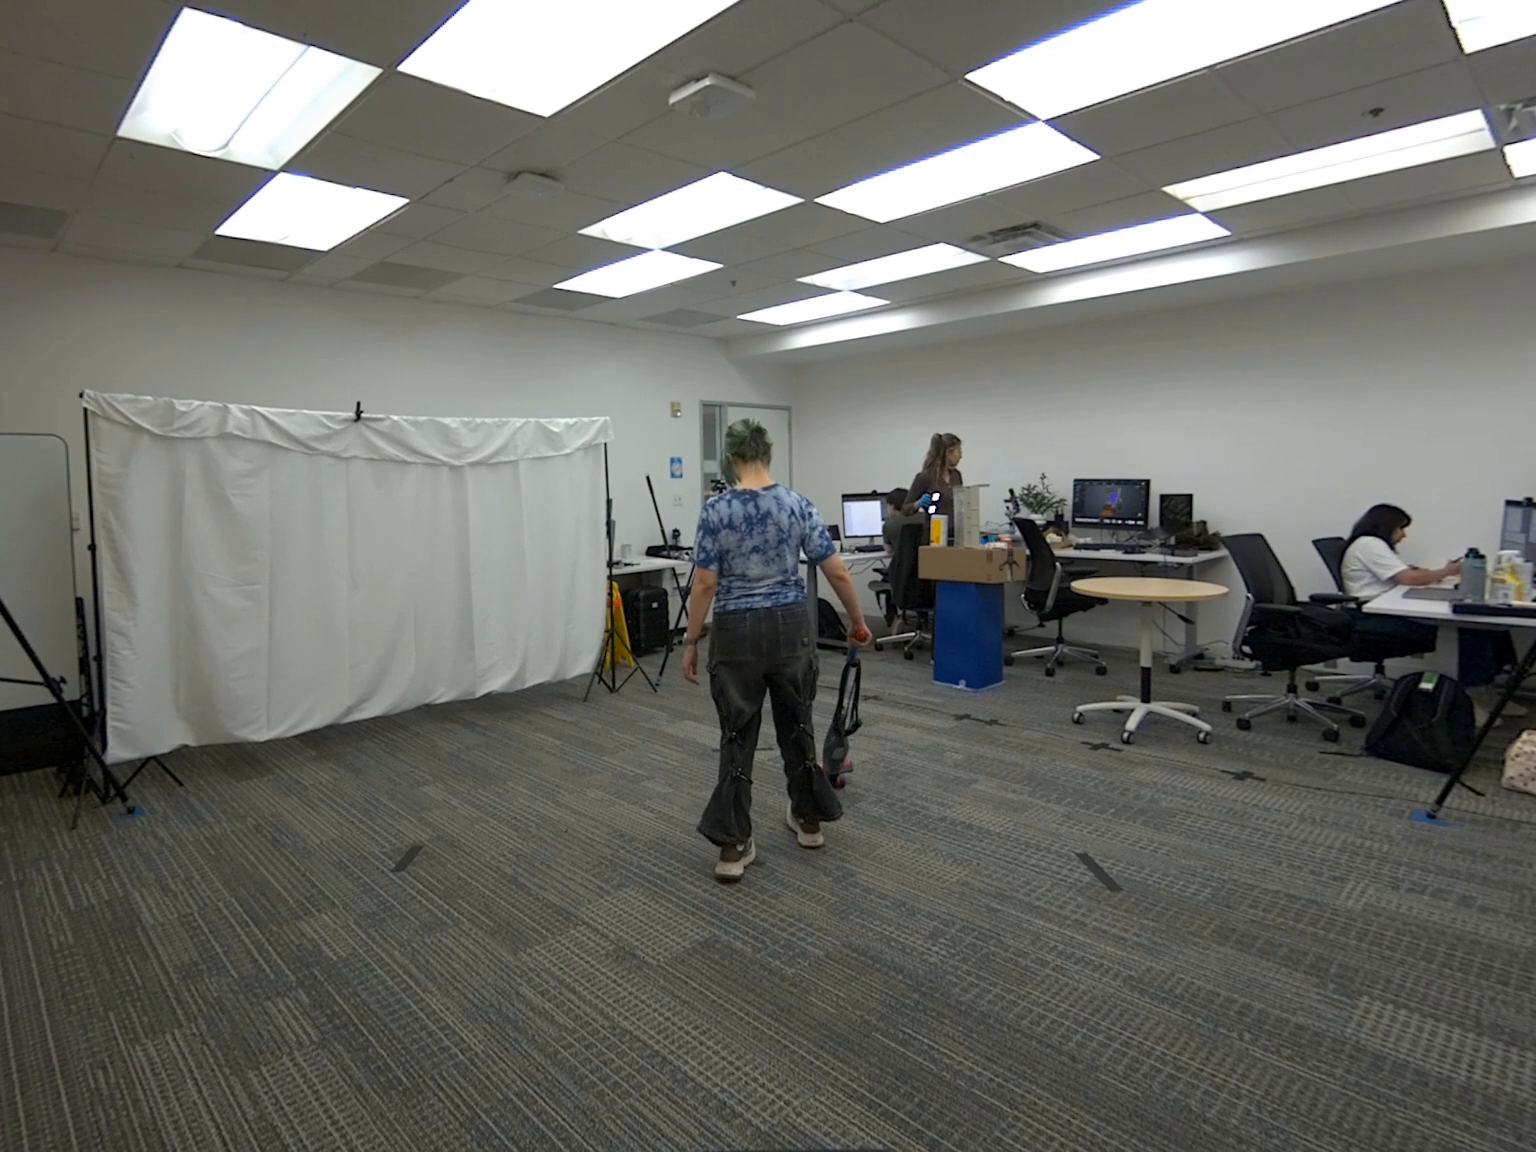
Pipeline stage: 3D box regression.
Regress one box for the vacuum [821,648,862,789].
[{"bbox_3d":[0.310,0.581,3.552,0.251,0.148,1.024,-3,-41,-9],"label":"vacuum"}]
